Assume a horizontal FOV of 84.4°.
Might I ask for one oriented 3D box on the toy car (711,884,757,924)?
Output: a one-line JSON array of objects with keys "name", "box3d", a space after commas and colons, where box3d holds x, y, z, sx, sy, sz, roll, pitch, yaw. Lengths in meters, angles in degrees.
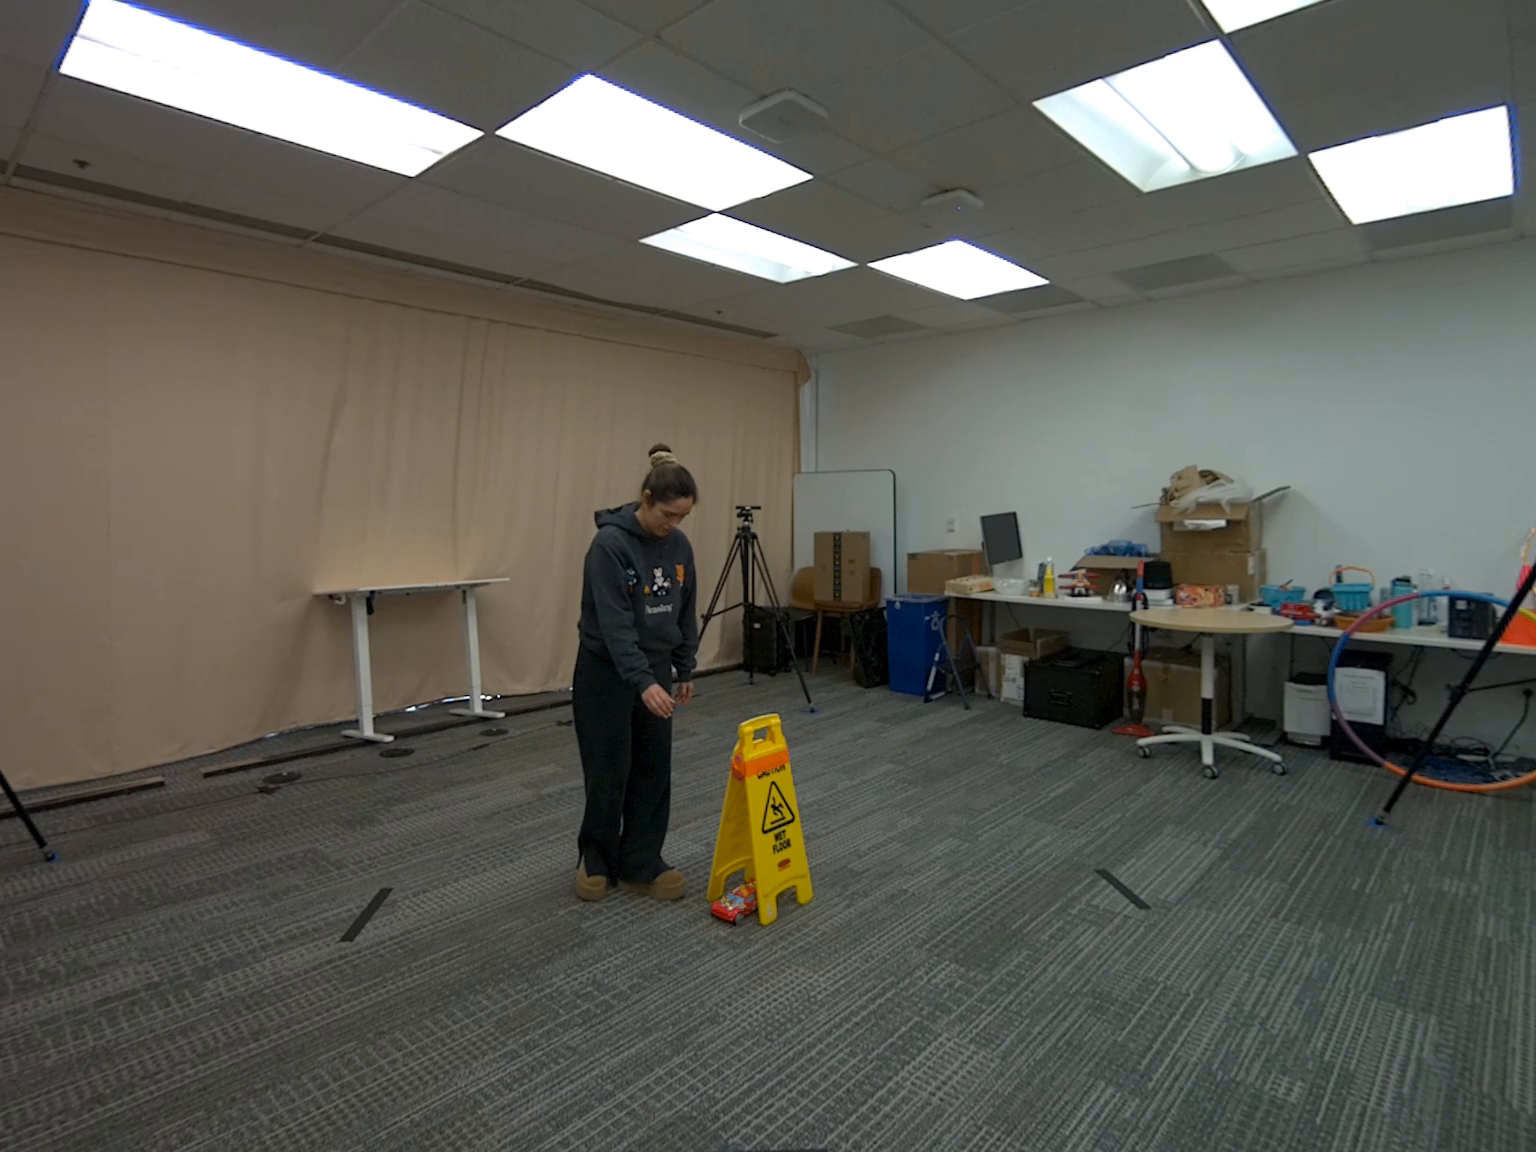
[{"name": "toy car", "box3d": [-0.071, 1.119, 2.909, 0.134, 0.082, 0.248, 3, 16, 40]}]
